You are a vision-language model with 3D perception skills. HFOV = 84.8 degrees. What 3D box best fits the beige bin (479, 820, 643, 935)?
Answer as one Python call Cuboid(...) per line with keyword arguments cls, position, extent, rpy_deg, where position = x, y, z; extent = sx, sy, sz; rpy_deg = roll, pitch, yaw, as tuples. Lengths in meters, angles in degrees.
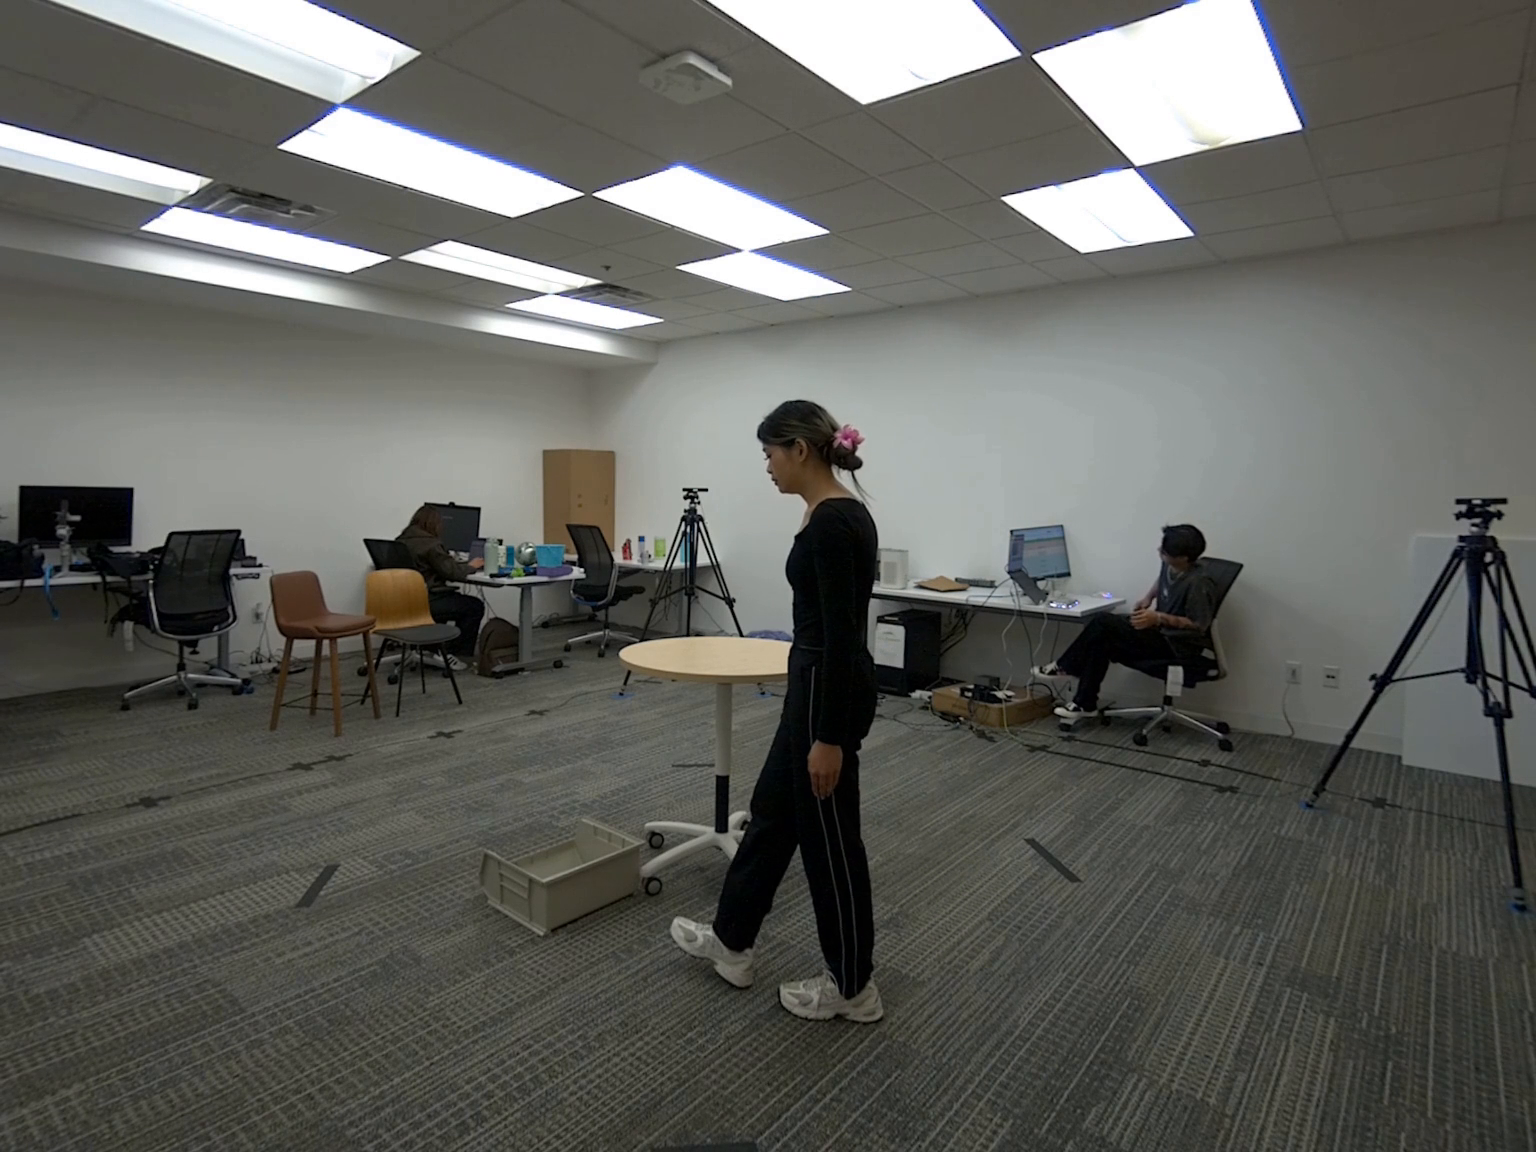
Cuboid(cls="beige bin", position=(-0.709, 0.998, 2.884), extent=(0.390, 0.188, 0.410), rpy_deg=(6, 7, 40))
